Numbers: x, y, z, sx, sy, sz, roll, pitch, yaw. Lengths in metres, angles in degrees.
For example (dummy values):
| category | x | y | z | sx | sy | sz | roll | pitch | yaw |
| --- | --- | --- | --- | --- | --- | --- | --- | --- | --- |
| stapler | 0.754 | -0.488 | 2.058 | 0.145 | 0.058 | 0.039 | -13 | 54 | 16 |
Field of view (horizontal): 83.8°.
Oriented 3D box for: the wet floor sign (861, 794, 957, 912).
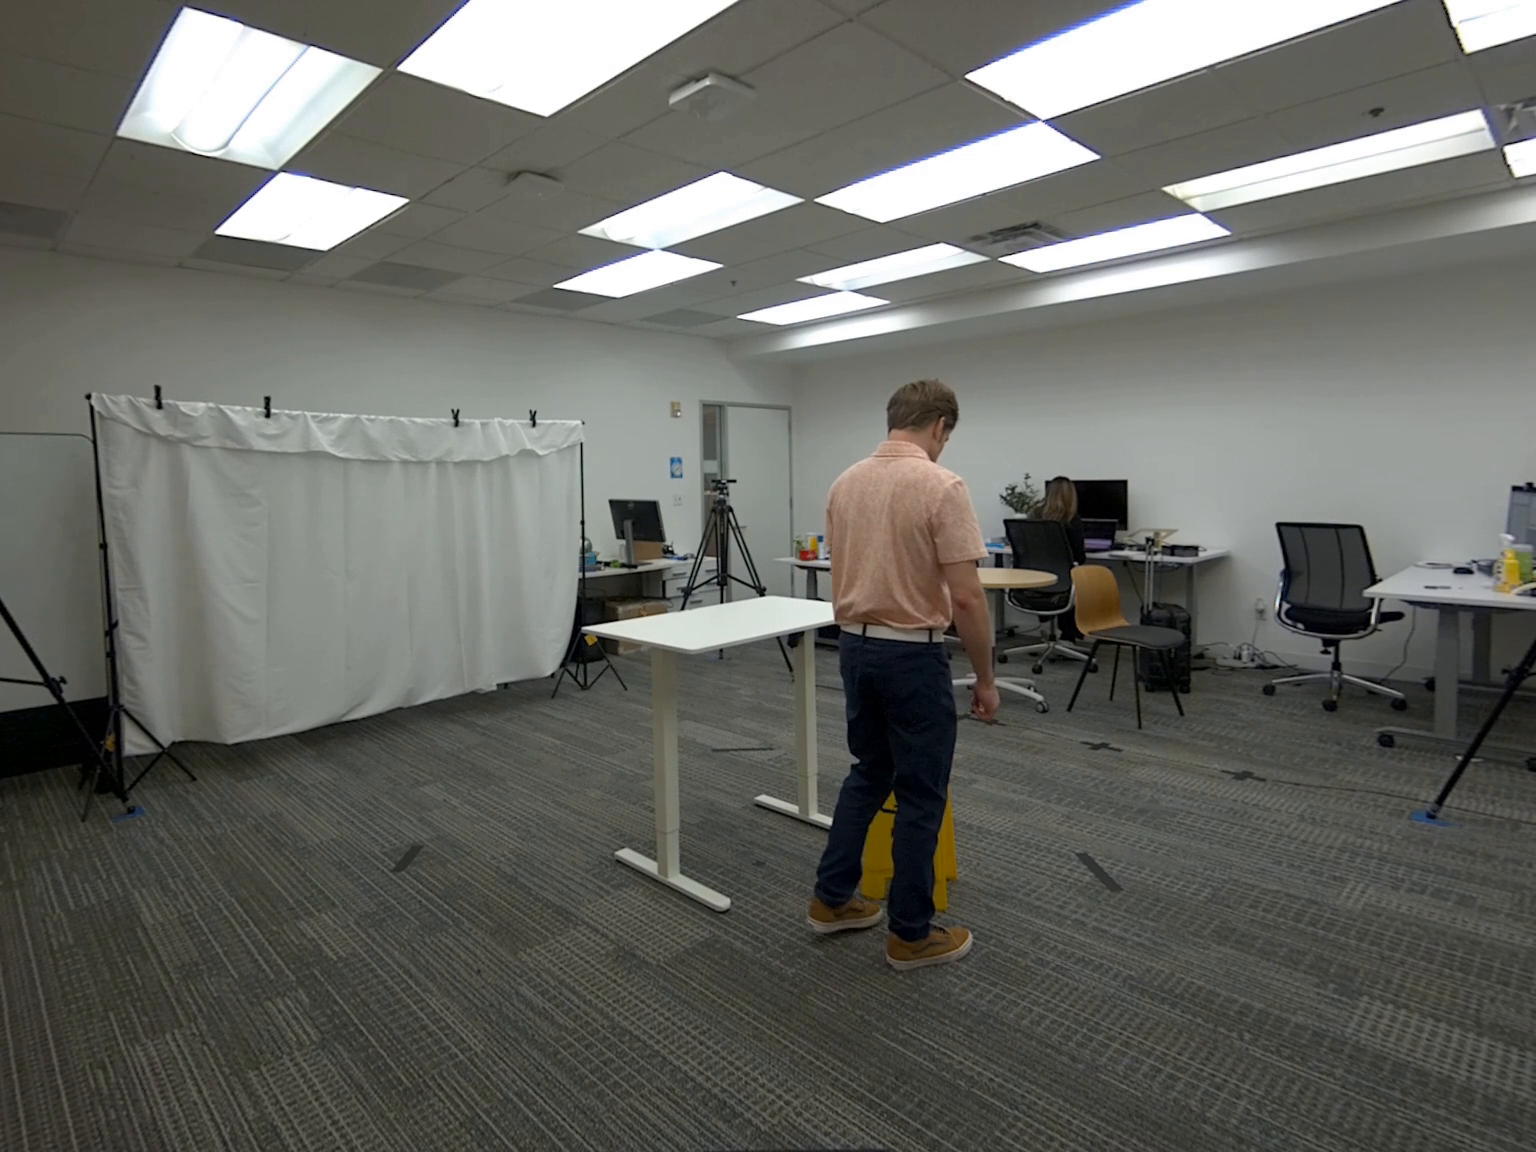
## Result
| category | x | y | z | sx | sy | sz | roll | pitch | yaw |
| --- | --- | --- | --- | --- | --- | --- | --- | --- | --- |
| wet floor sign | 0.484 | 0.743 | 2.885 | 0.287 | 0.645 | 0.285 | -1 | 2 | 18 |
